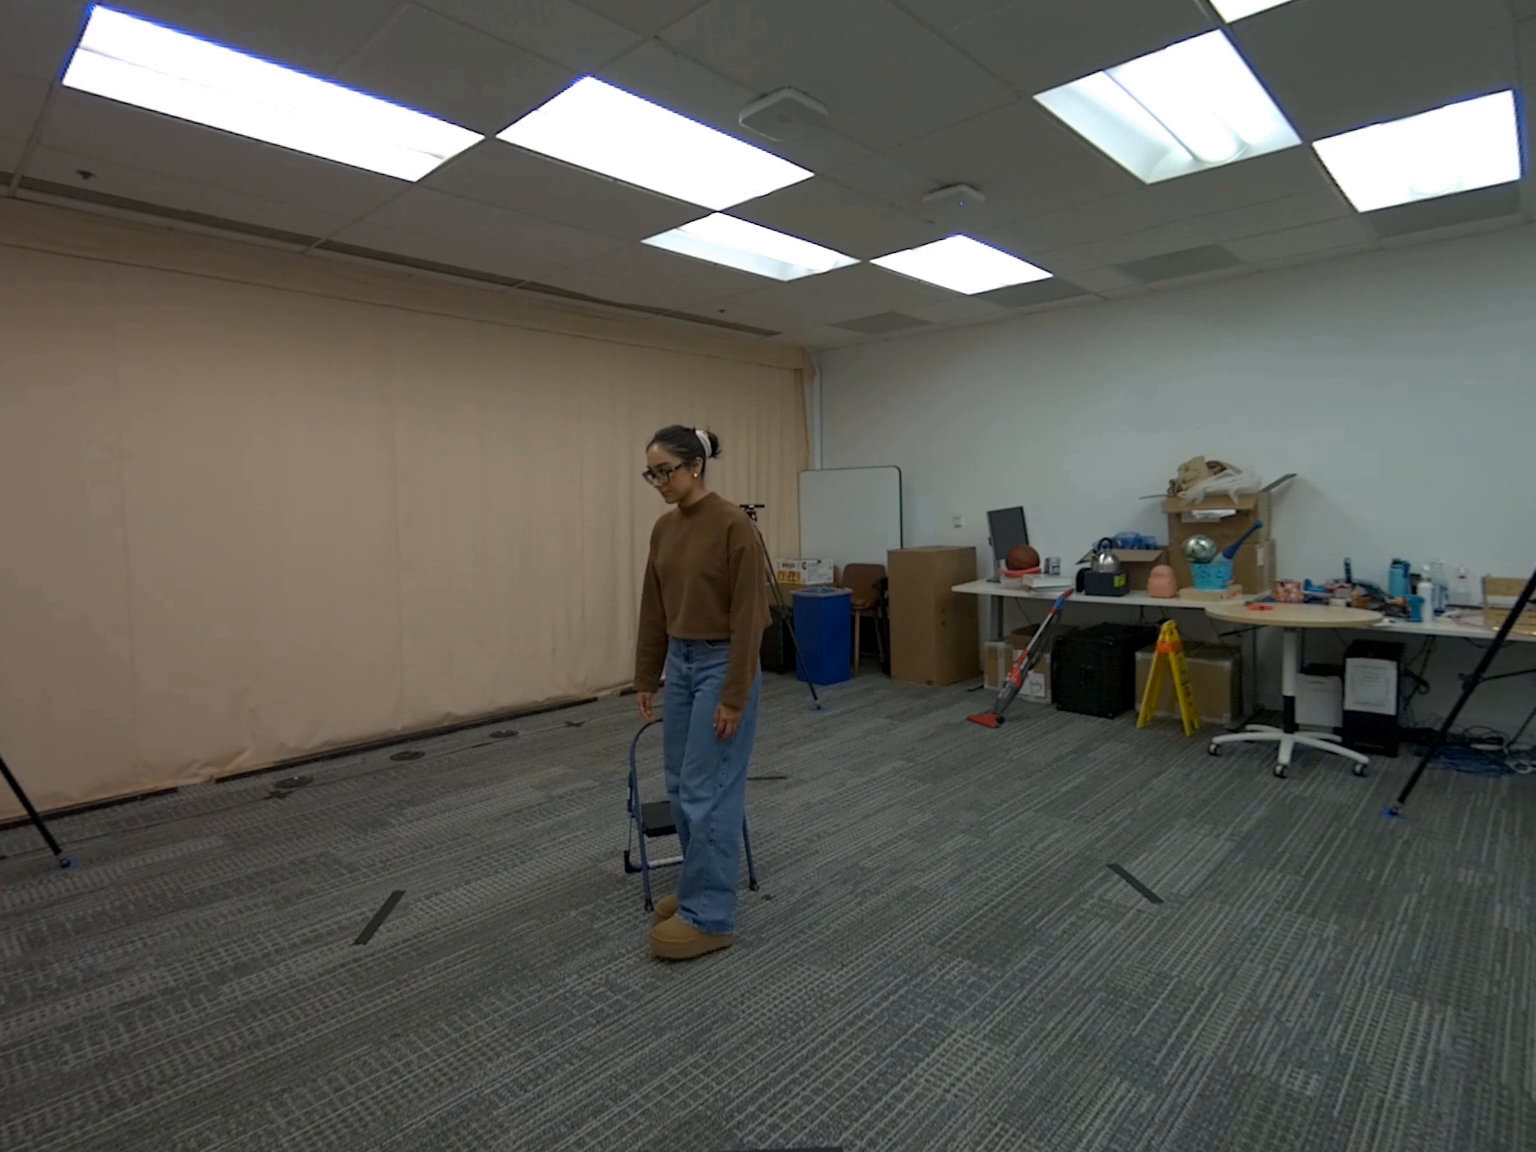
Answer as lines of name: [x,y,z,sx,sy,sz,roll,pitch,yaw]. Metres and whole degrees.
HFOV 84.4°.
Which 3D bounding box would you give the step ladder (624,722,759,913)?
step ladder: [-0.298,0.833,3.111,0.421,0.604,0.358,-3,4,-22]
